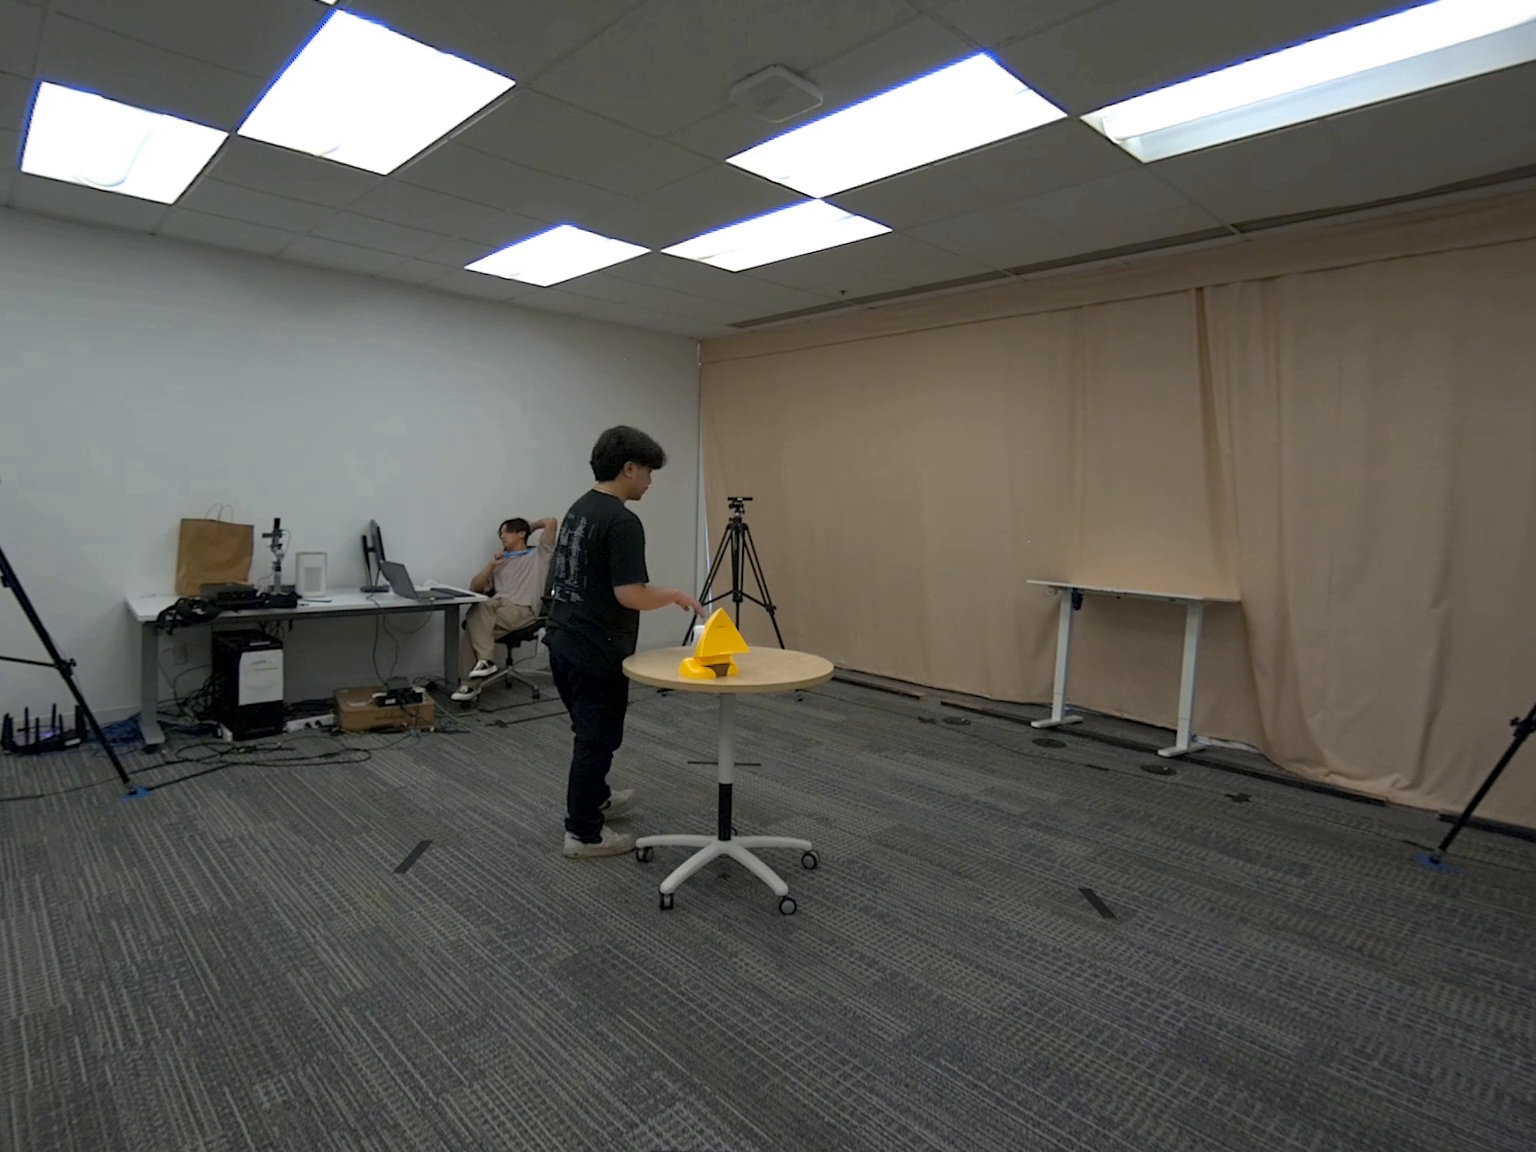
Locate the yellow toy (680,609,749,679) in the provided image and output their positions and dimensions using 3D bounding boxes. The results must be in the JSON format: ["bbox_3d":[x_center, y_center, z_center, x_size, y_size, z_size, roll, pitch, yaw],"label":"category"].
[{"bbox_3d":[-0.204,0.219,2.859,0.200,0.230,0.198,-2,5,-37],"label":"yellow toy"}]
